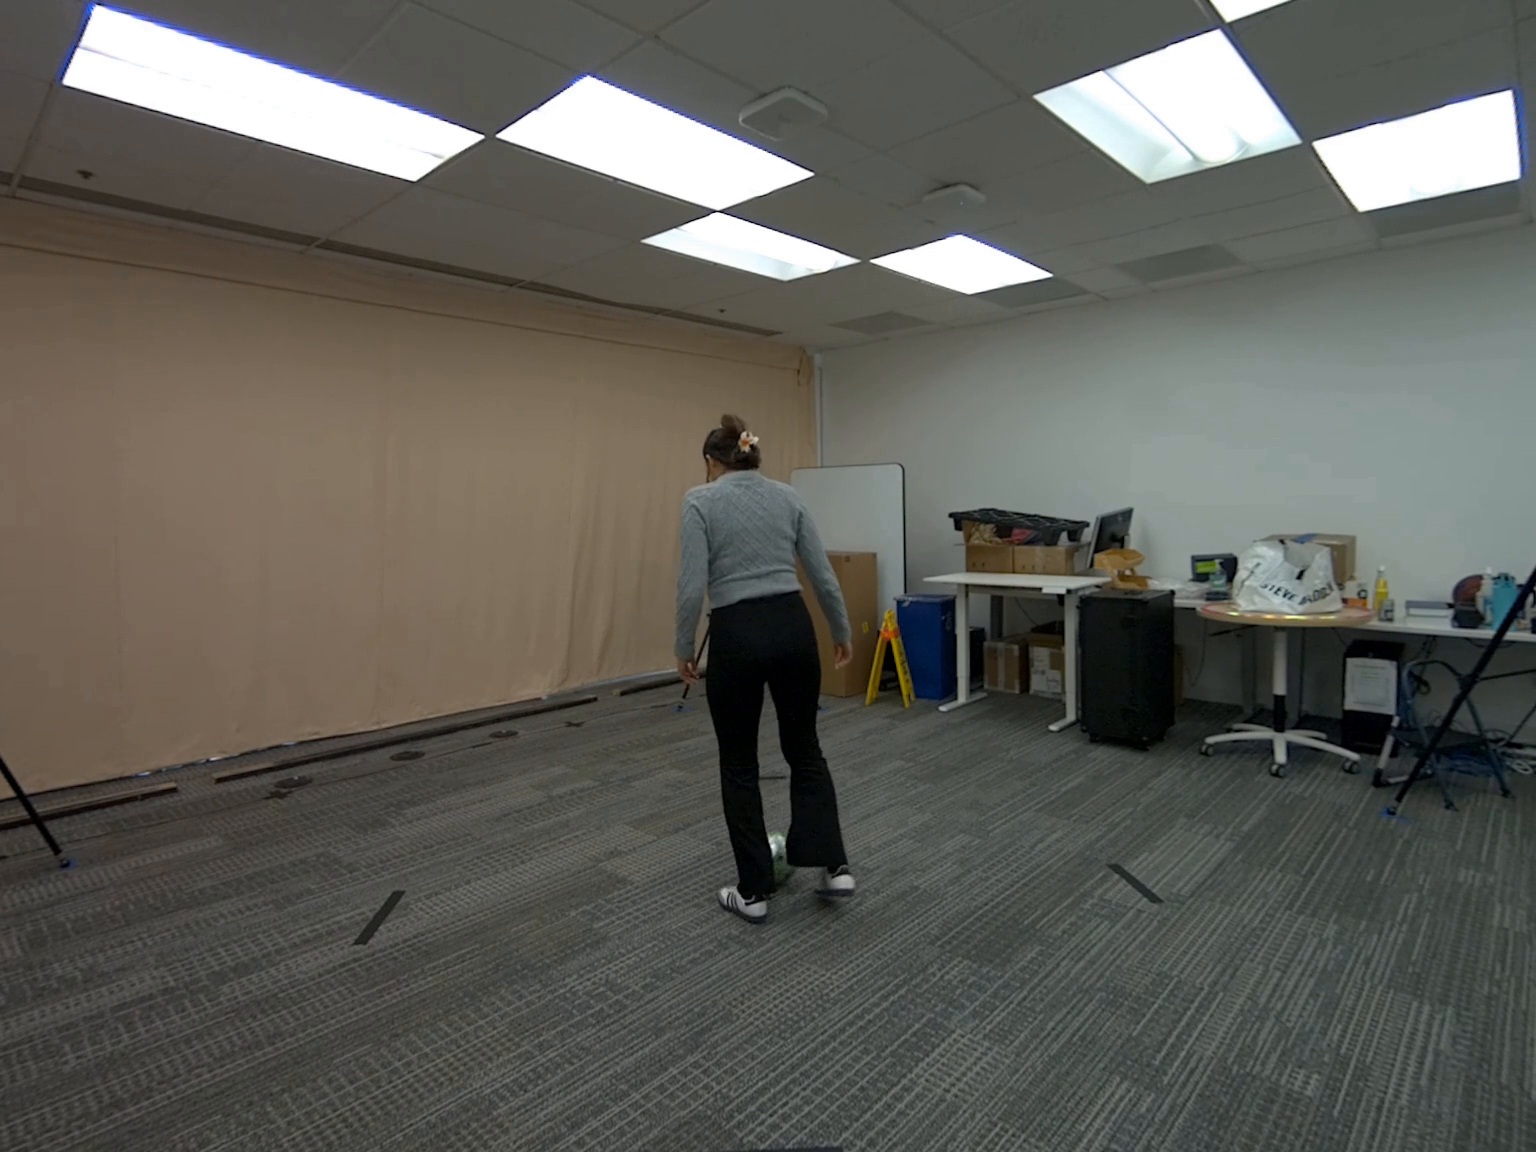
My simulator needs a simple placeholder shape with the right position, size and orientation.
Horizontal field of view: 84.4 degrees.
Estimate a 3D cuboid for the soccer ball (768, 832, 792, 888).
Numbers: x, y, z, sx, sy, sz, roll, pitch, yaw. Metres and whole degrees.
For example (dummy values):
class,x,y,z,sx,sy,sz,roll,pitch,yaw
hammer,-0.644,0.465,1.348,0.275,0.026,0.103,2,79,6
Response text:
class,x,y,z,sx,sy,sz,roll,pitch,yaw
soccer ball,0.016,1.037,3.096,0.187,0.187,0.188,-1,4,-2
